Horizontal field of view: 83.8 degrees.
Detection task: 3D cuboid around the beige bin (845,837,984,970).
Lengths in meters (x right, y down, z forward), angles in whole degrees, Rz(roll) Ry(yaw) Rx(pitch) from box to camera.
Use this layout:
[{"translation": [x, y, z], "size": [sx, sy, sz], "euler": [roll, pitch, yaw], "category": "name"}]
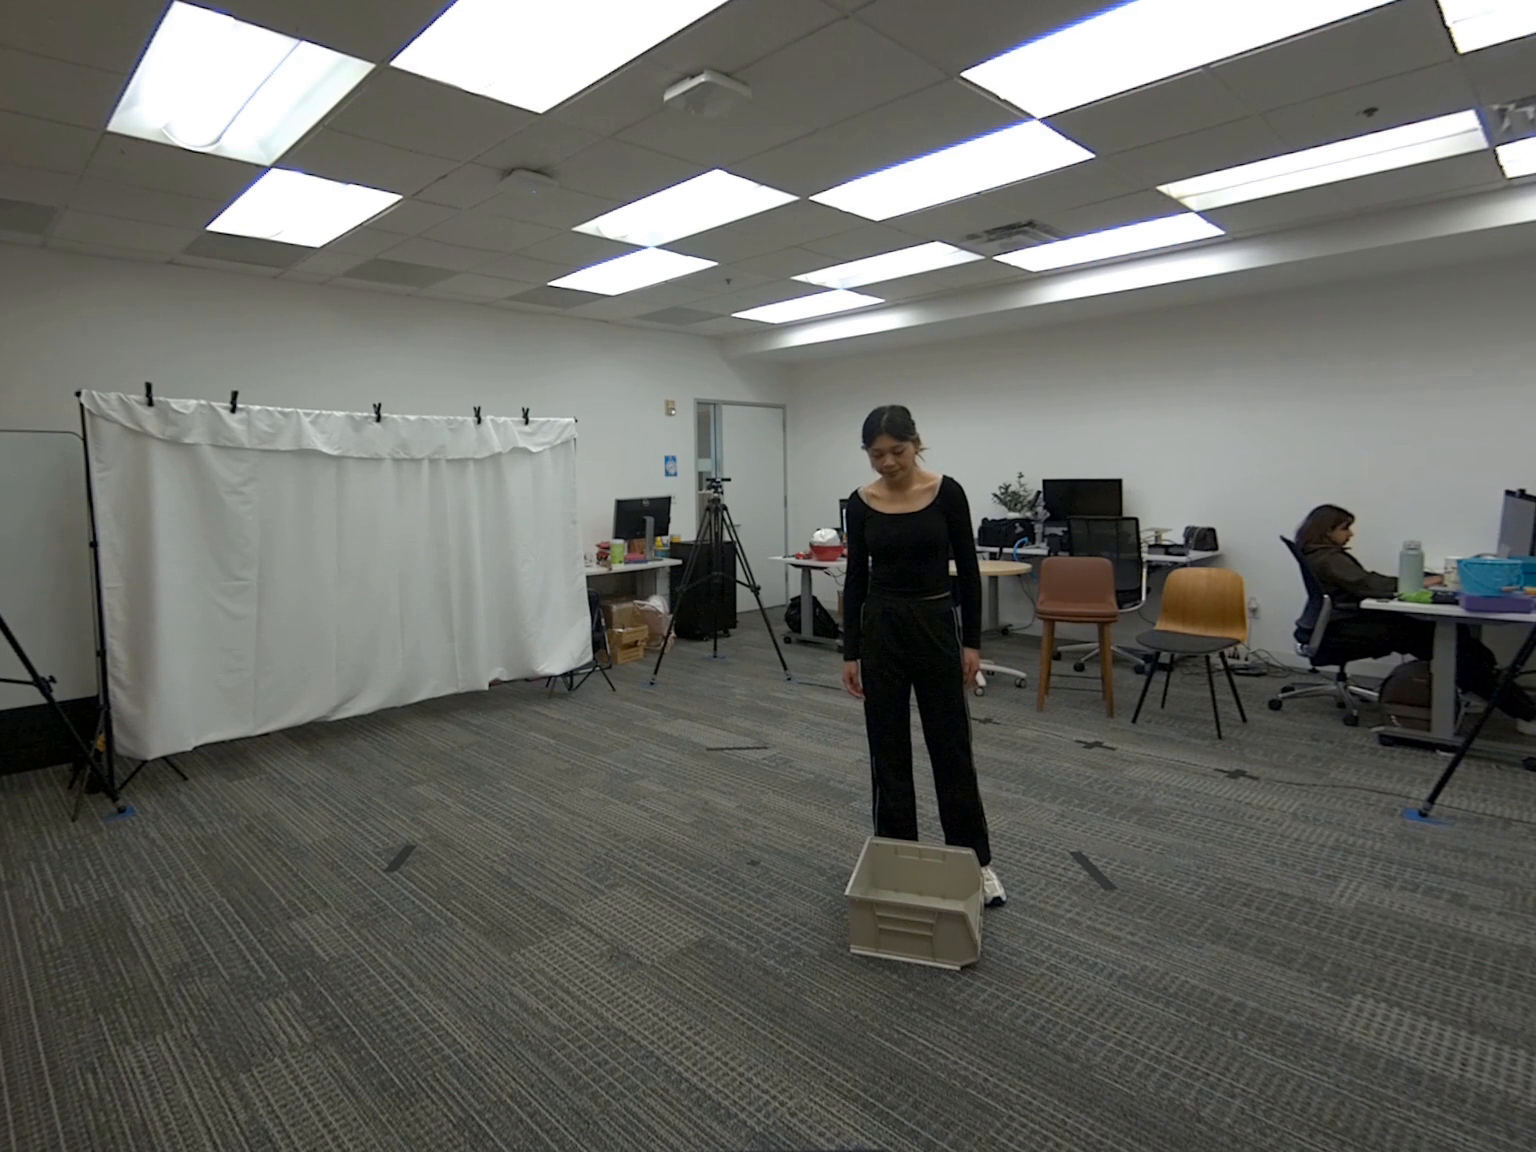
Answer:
[{"translation": [0.470, 1.001, 2.635], "size": [0.384, 0.188, 0.417], "euler": [0, 6, 18], "category": "beige bin"}]
